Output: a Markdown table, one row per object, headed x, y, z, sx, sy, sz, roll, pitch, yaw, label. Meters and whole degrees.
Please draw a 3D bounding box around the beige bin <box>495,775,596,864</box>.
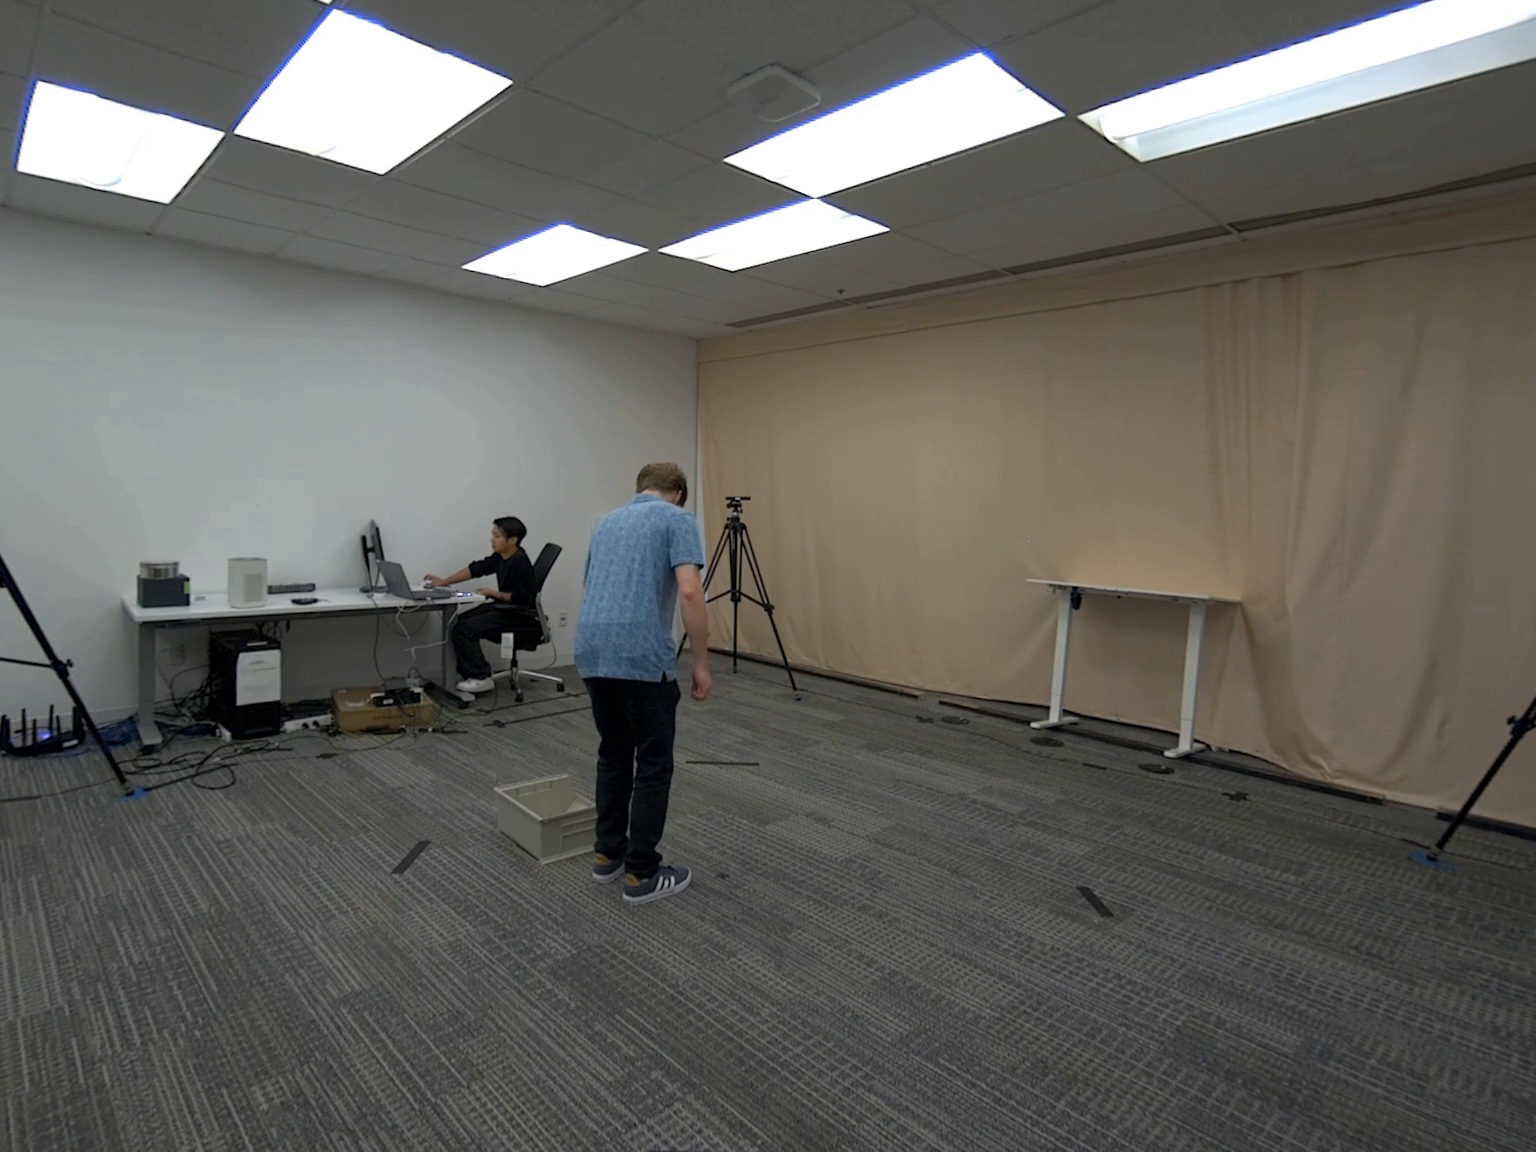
| x | y | z | sx | sy | sz | roll | pitch | yaw | label |
| --- | --- | --- | --- | --- | --- | --- | --- | --- | --- |
| -0.855 | 0.974 | 3.425 | 0.369 | 0.188 | 0.433 | -4 | 8 | -40 | beige bin |
